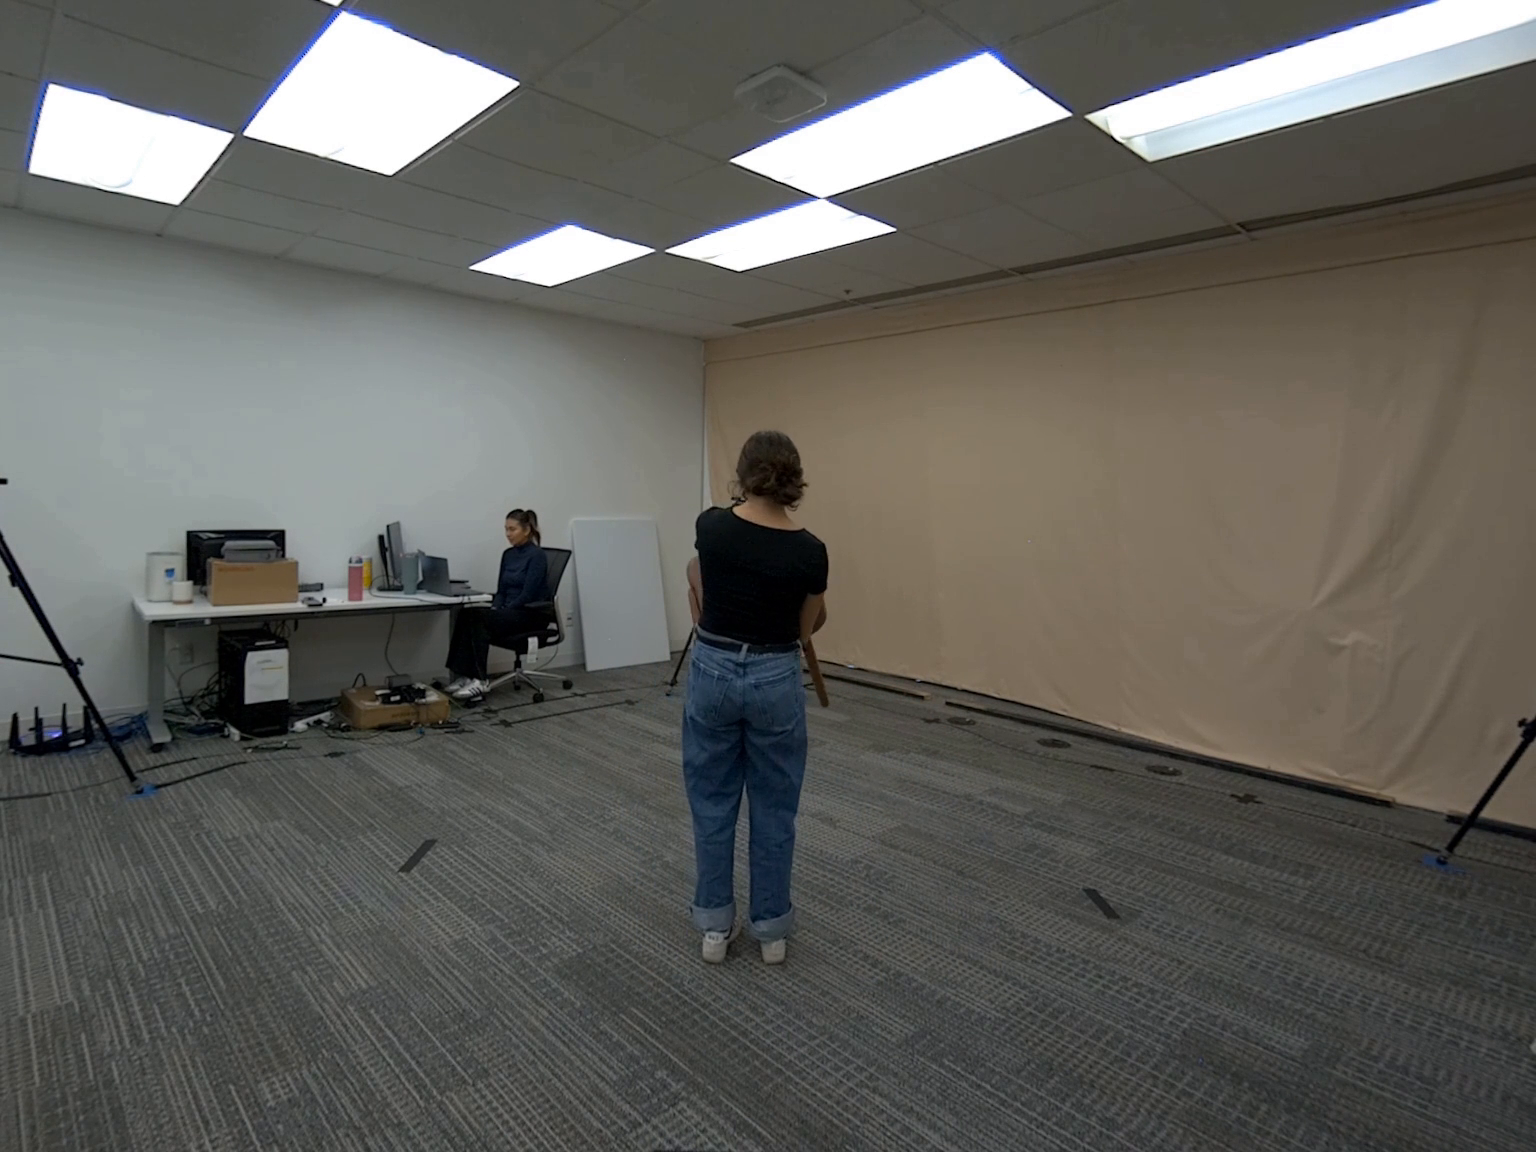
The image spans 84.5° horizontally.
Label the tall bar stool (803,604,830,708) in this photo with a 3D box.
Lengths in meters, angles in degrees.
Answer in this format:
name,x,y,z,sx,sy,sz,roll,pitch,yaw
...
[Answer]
name,x,y,z,sx,sy,sz,roll,pitch,yaw
tall bar stool,-0.035,0.154,3.033,0.457,0.478,0.869,-10,-28,2
